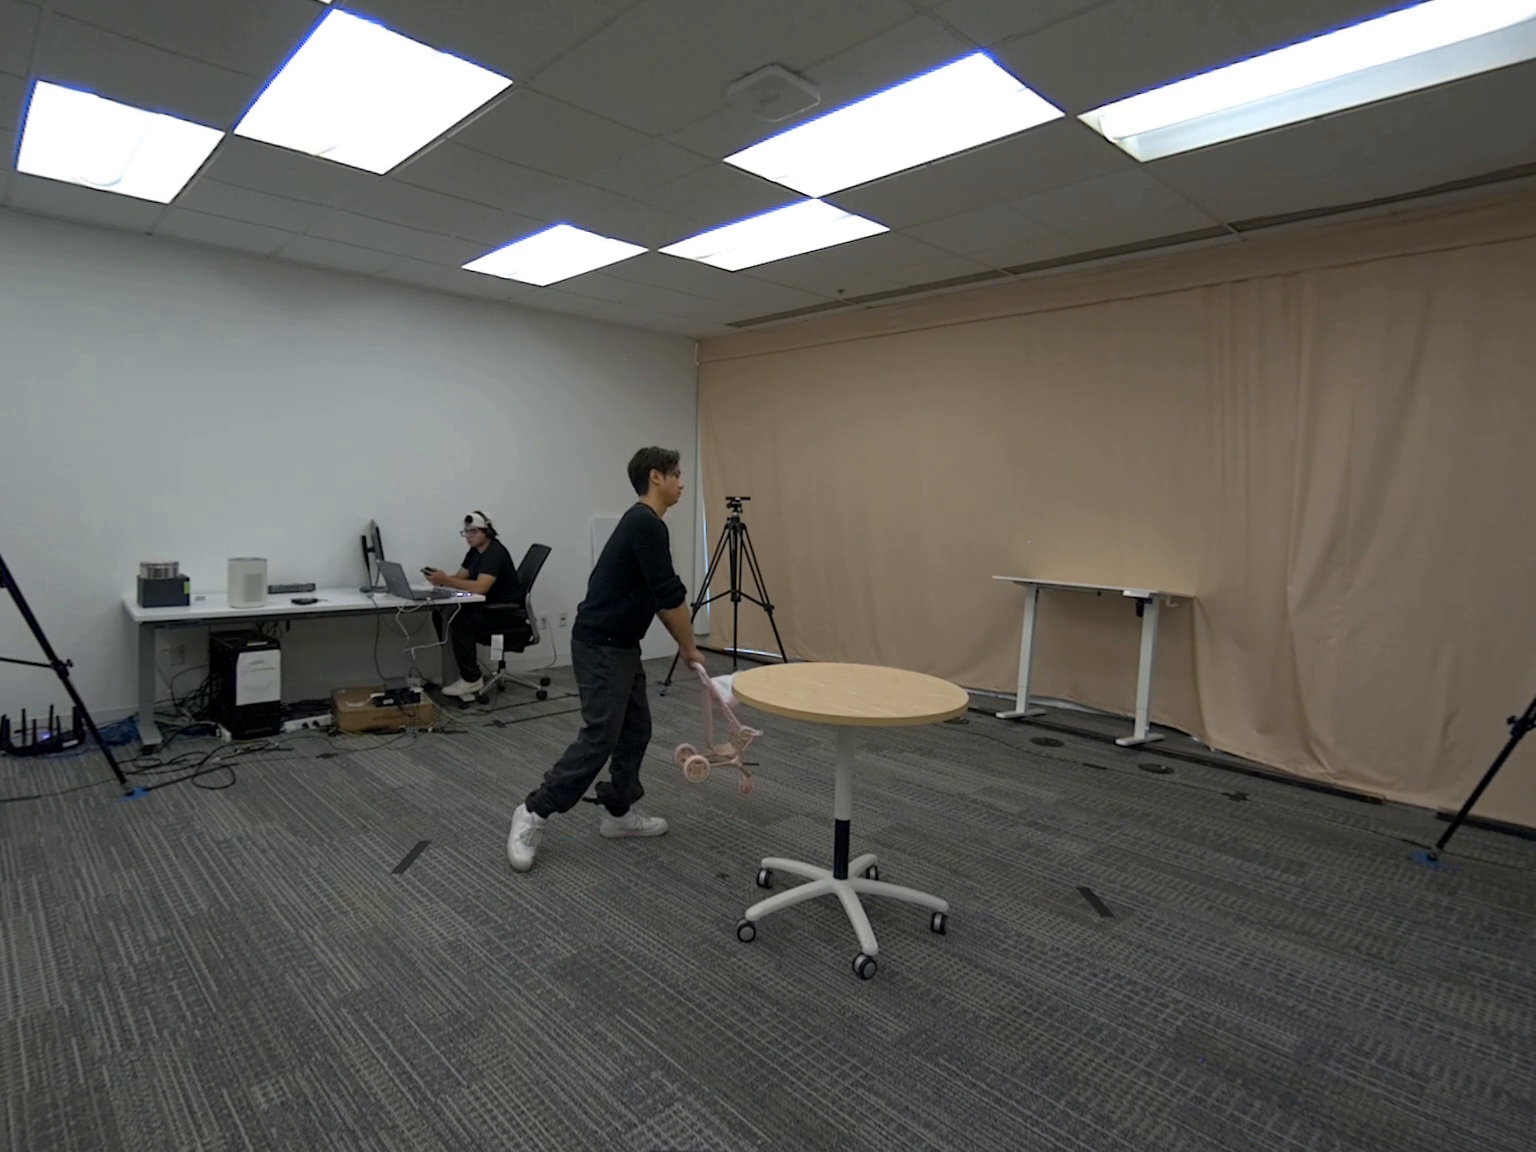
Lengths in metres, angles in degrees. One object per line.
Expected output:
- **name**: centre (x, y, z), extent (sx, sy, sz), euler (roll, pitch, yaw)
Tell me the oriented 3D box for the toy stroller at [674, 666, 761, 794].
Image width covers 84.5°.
- **toy stroller**: centre (-0.194, 0.622, 3.441), extent (0.338, 0.537, 0.283), euler (7, -5, -10)
